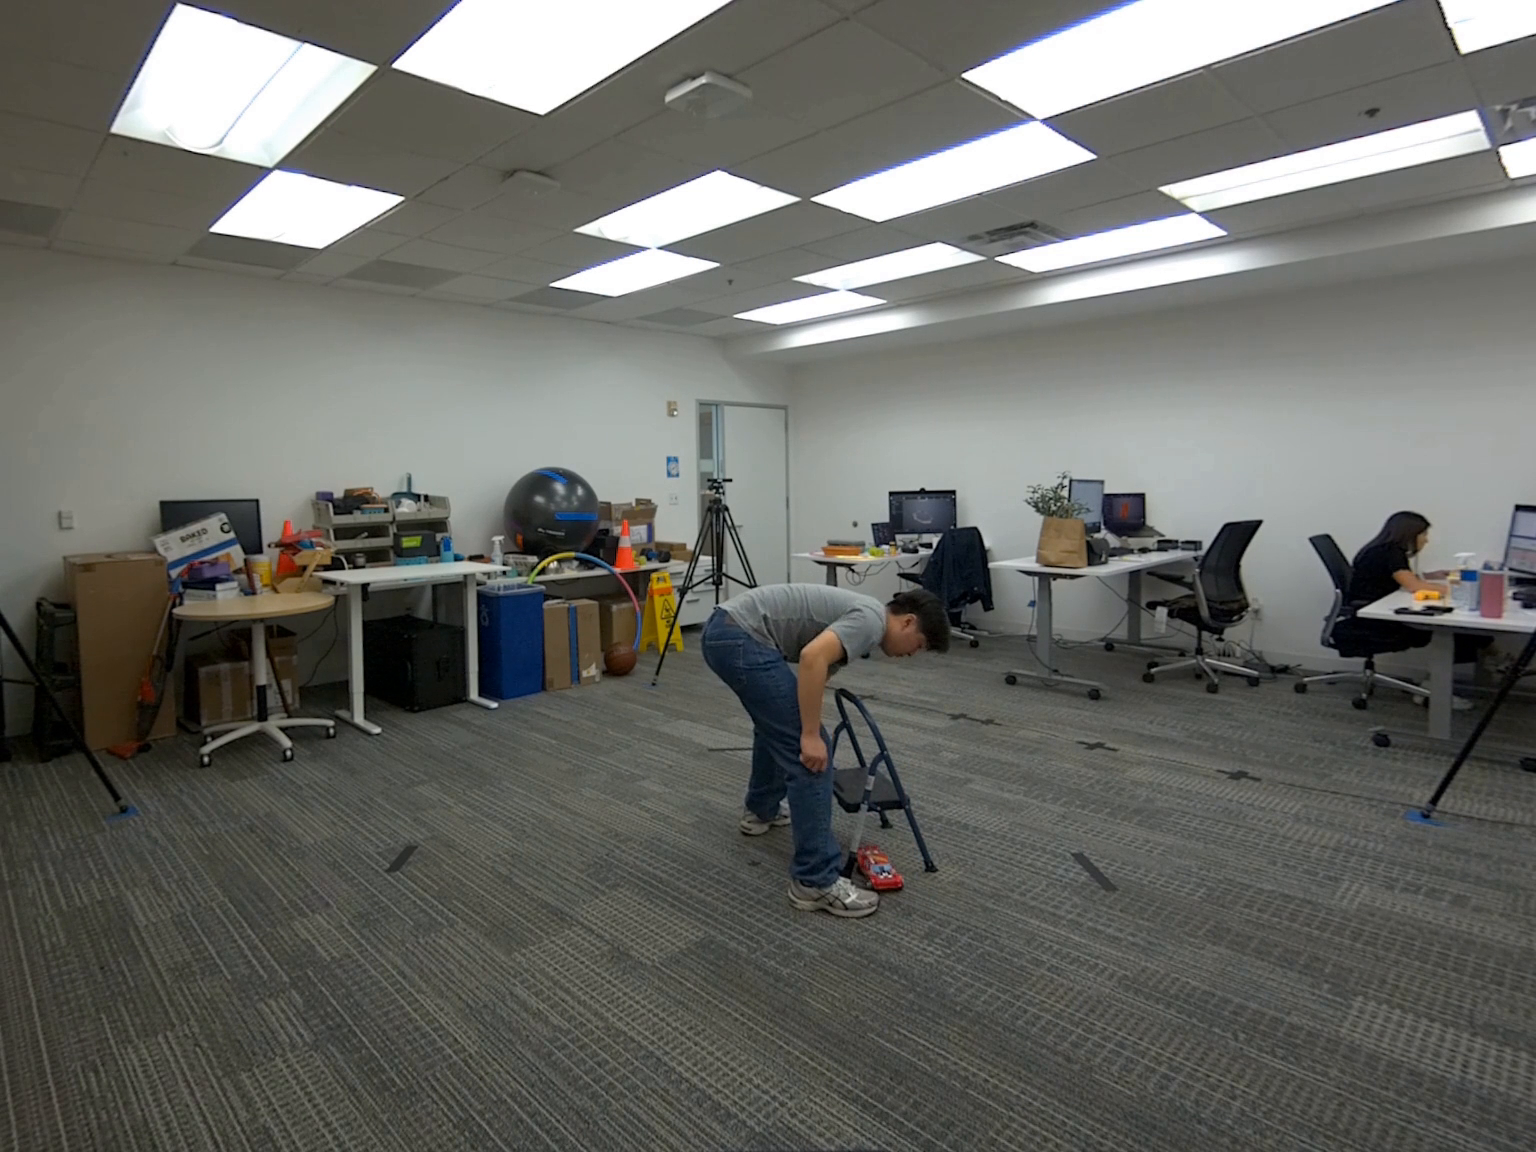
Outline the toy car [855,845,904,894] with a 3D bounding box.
[{"bbox_3d":[0.381,1.026,2.985,0.129,0.082,0.261,-3,19,-11],"label":"toy car"}]
